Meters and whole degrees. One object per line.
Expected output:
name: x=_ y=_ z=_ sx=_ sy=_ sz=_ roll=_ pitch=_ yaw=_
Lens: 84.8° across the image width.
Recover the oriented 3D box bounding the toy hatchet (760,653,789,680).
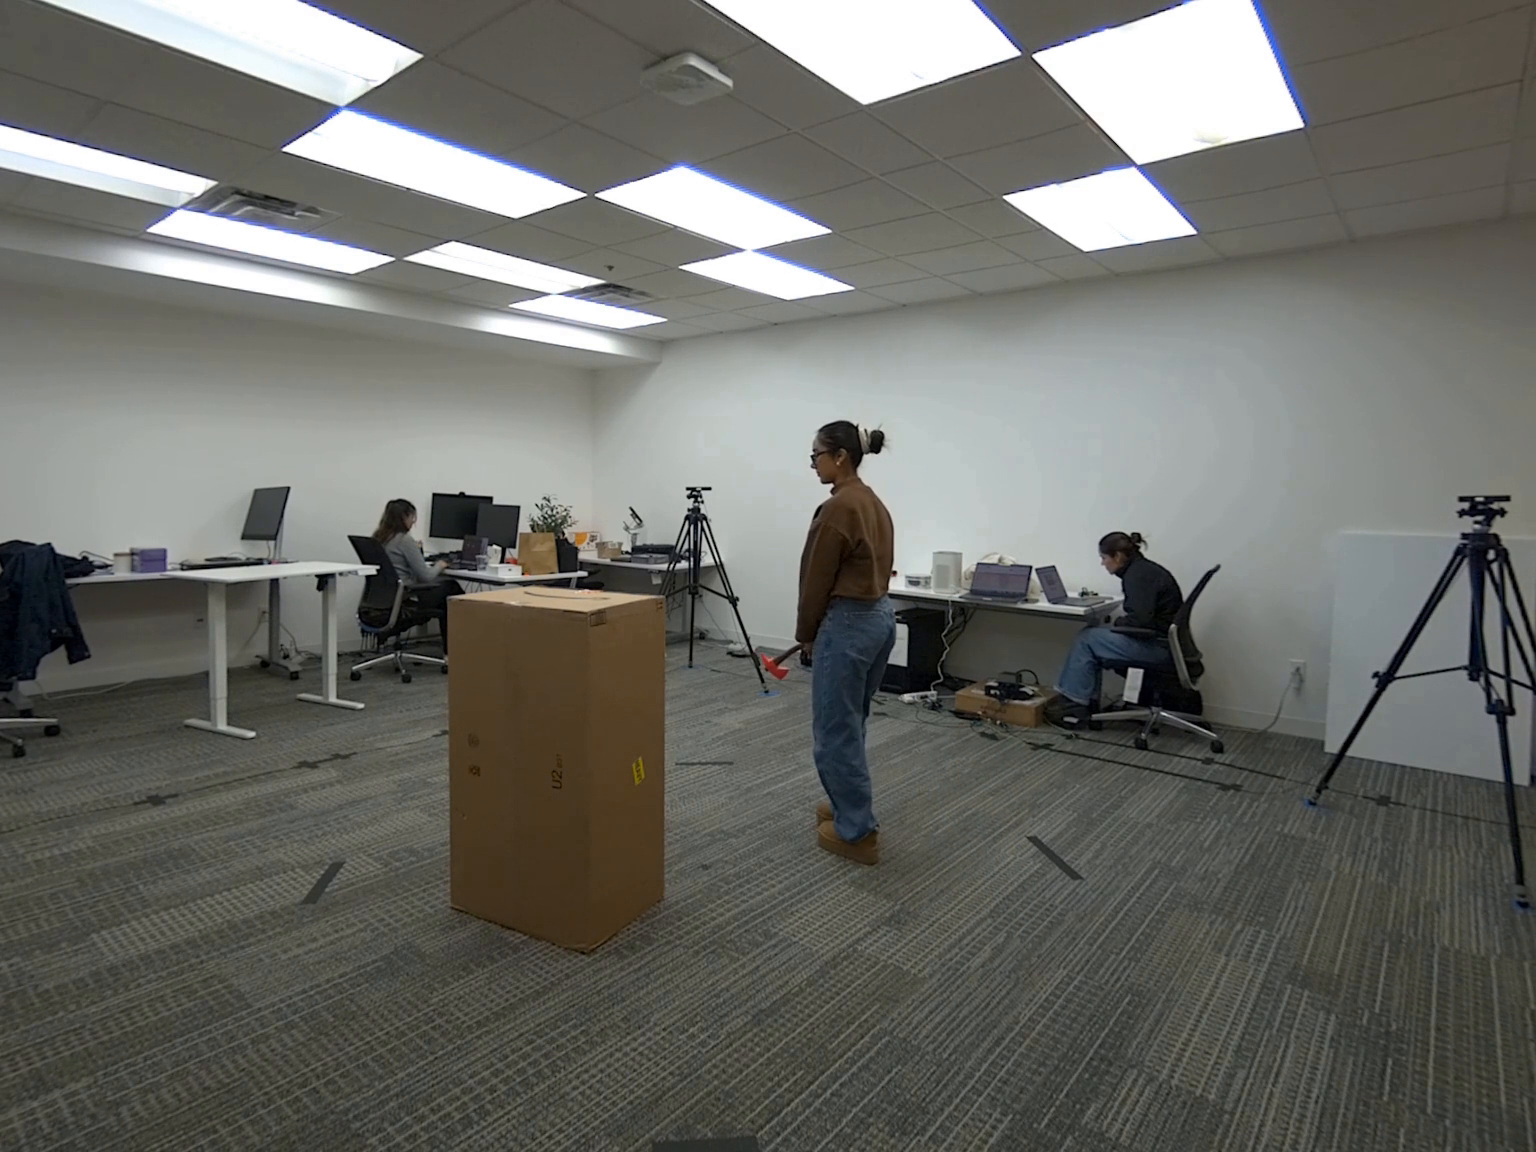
toy hatchet: x=0.104 y=0.334 z=3.411 sx=0.273 sy=0.130 sz=0.029 roll=-17 pitch=5 yaw=17
